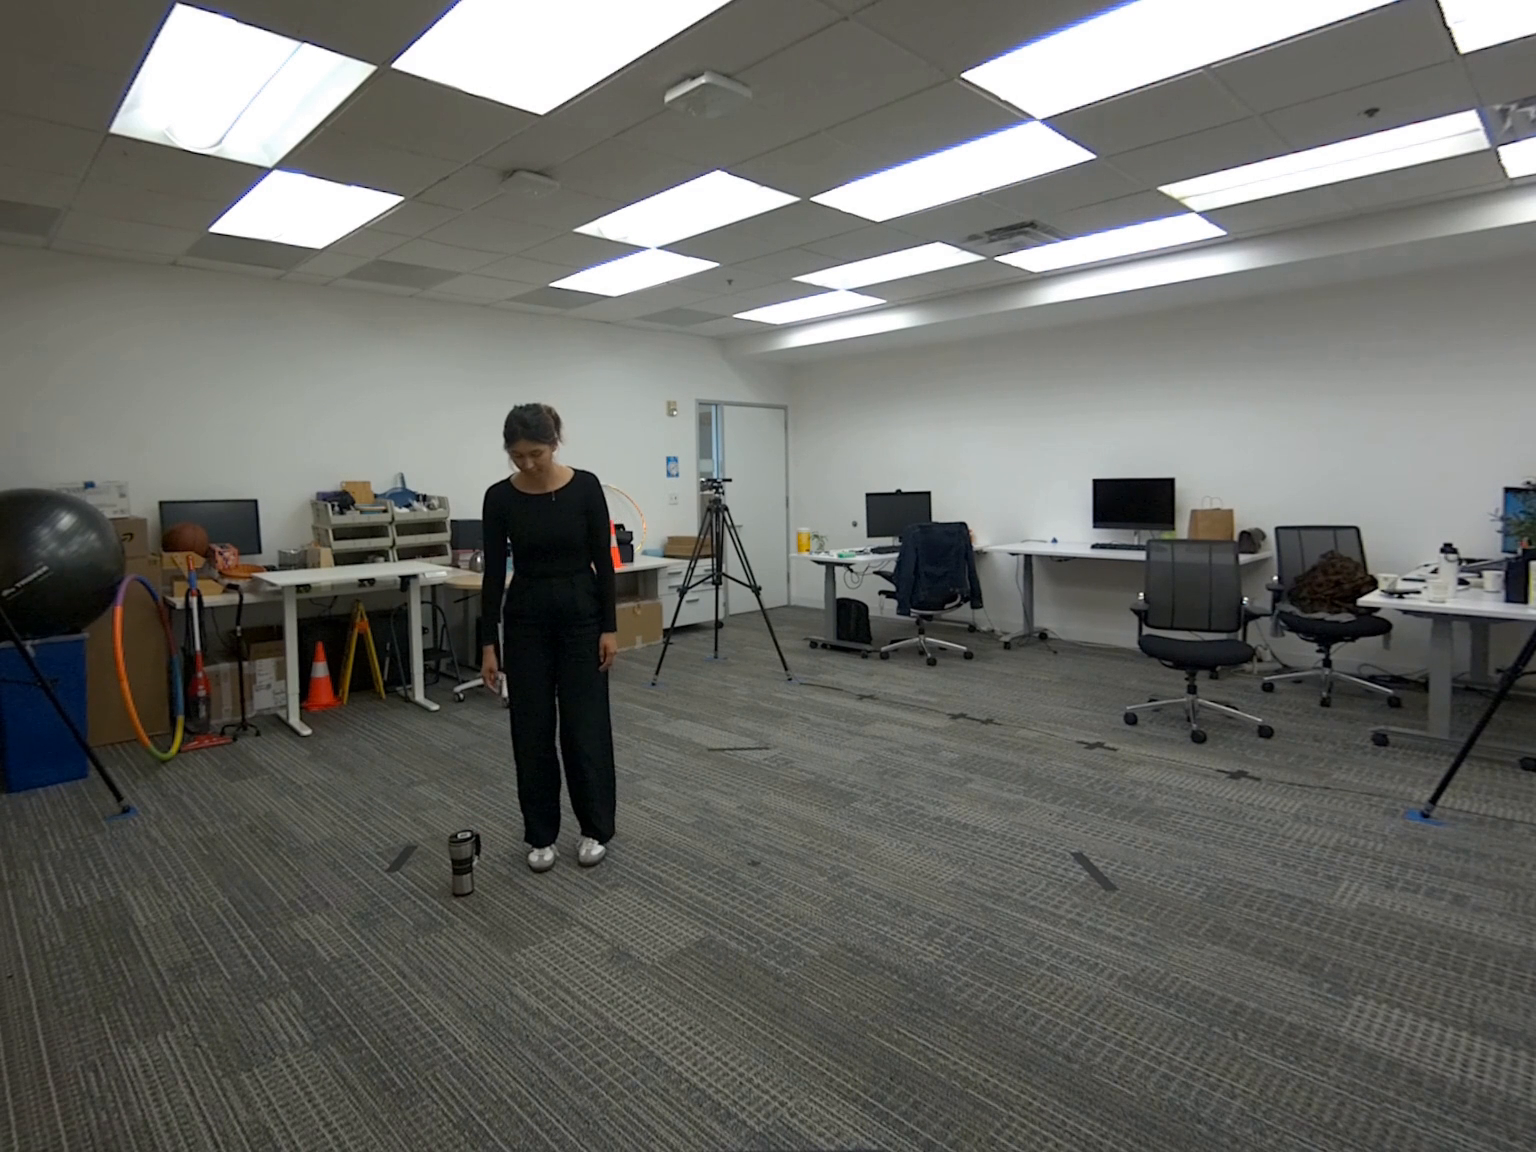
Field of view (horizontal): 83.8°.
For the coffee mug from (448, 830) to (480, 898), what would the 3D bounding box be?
[{"bbox_3d":[-1.036,0.989,2.940,0.119,0.202,0.090,-10,3,-38],"label":"coffee mug"}]
